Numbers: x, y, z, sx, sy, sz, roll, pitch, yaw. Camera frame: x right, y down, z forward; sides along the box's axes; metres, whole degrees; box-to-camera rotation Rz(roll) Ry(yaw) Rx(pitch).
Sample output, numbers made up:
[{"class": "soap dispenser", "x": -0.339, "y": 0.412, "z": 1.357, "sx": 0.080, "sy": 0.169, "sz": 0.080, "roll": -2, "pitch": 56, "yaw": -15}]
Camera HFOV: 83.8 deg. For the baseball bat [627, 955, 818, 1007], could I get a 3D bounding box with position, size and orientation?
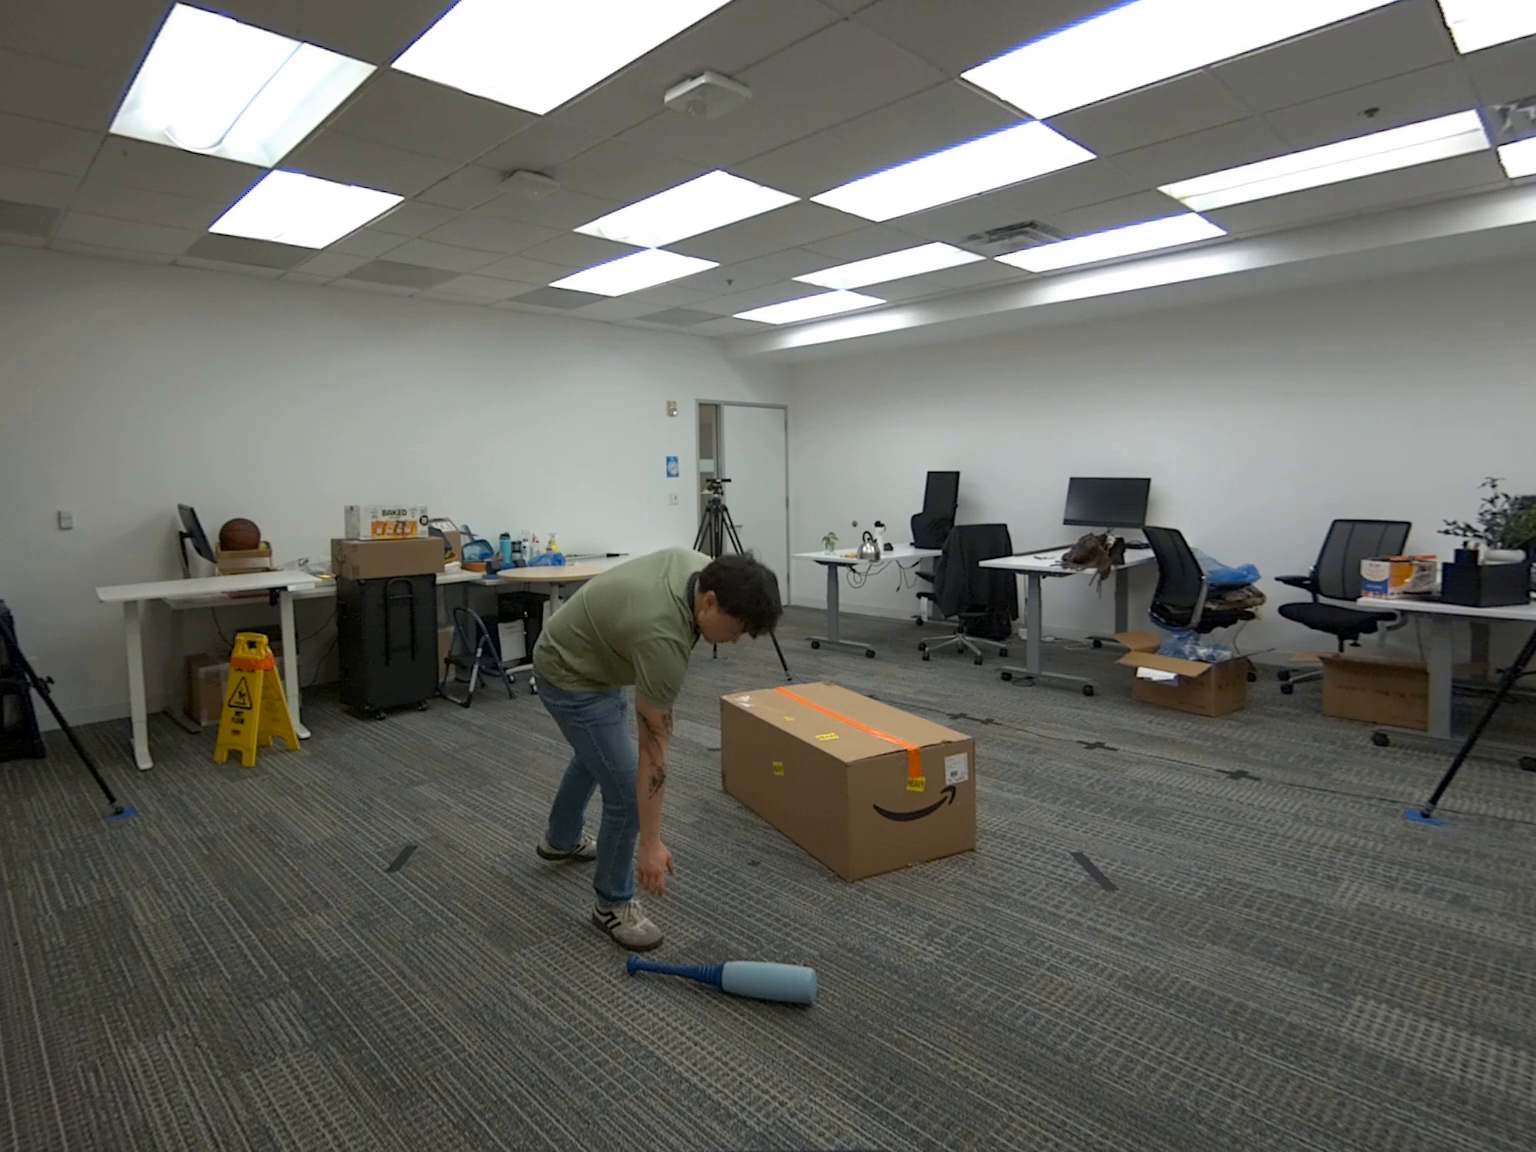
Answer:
[{"class": "baseball bat", "x": -0.131, "y": 1.097, "z": 2.350, "sx": 0.551, "sy": 0.089, "sz": 0.088, "roll": -2, "pitch": 4, "yaw": 17}]
